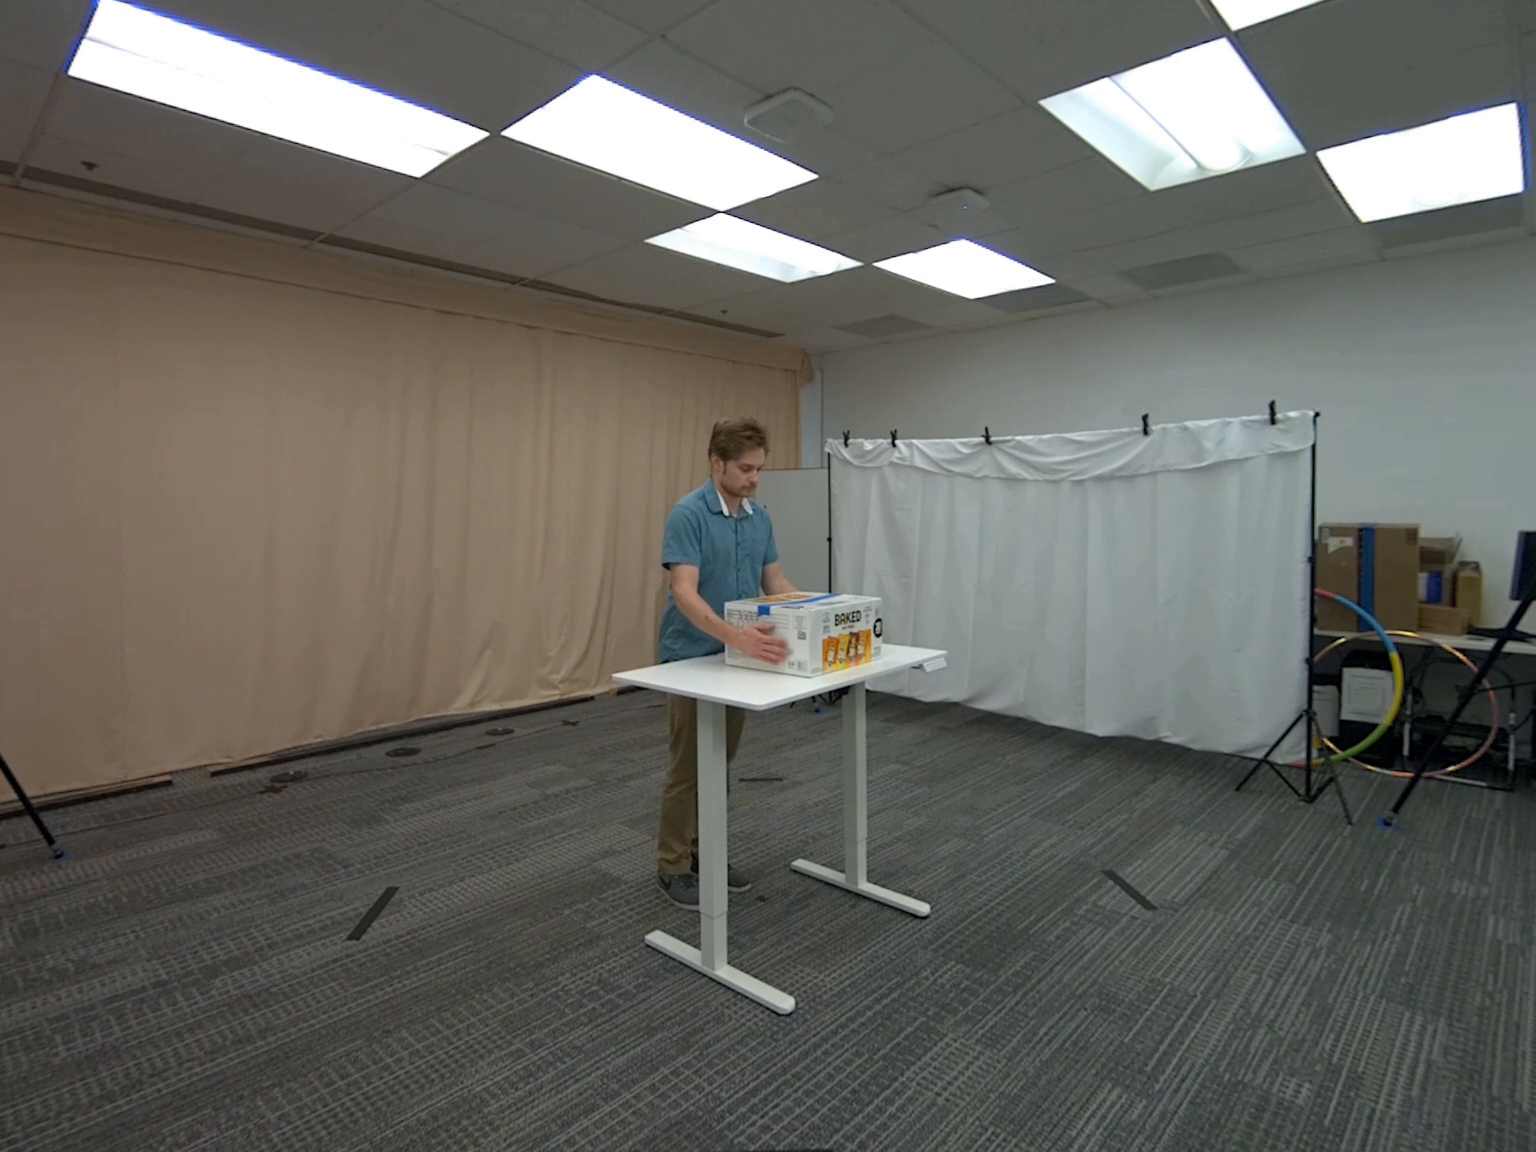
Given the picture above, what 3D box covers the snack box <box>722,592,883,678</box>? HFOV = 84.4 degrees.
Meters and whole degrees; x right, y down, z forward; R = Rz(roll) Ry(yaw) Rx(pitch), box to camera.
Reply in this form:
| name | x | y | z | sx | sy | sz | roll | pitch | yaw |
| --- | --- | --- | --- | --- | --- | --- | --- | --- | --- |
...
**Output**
| name | x | y | z | sx | sy | sz | roll | pitch | yaw |
| --- | --- | --- | --- | --- | --- | --- | --- | --- | --- |
| snack box | 0.127 | 0.180 | 2.726 | 0.351 | 0.205 | 0.393 | 2 | 5 | 41 |
